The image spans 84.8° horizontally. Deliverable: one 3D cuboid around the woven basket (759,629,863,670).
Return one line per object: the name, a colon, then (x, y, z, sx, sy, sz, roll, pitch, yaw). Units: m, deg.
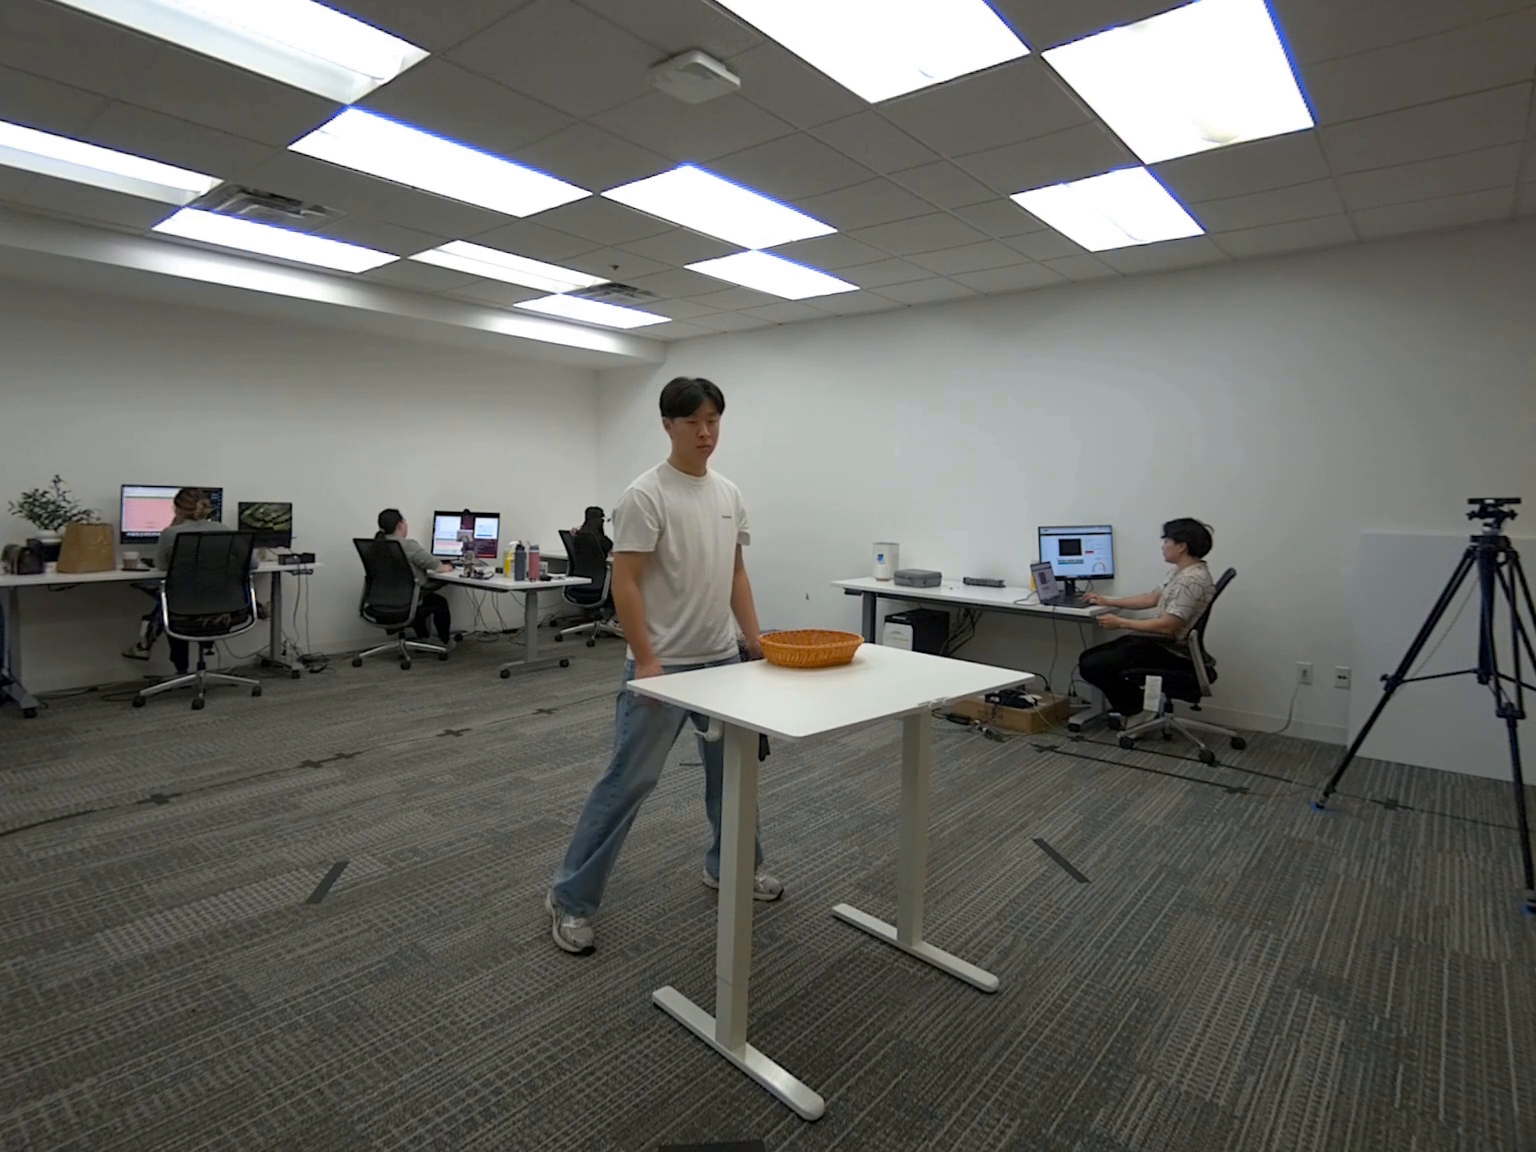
woven basket: (0.119, 0.217, 2.516, 0.340, 0.073, 0.261, -3, 8, -39)
